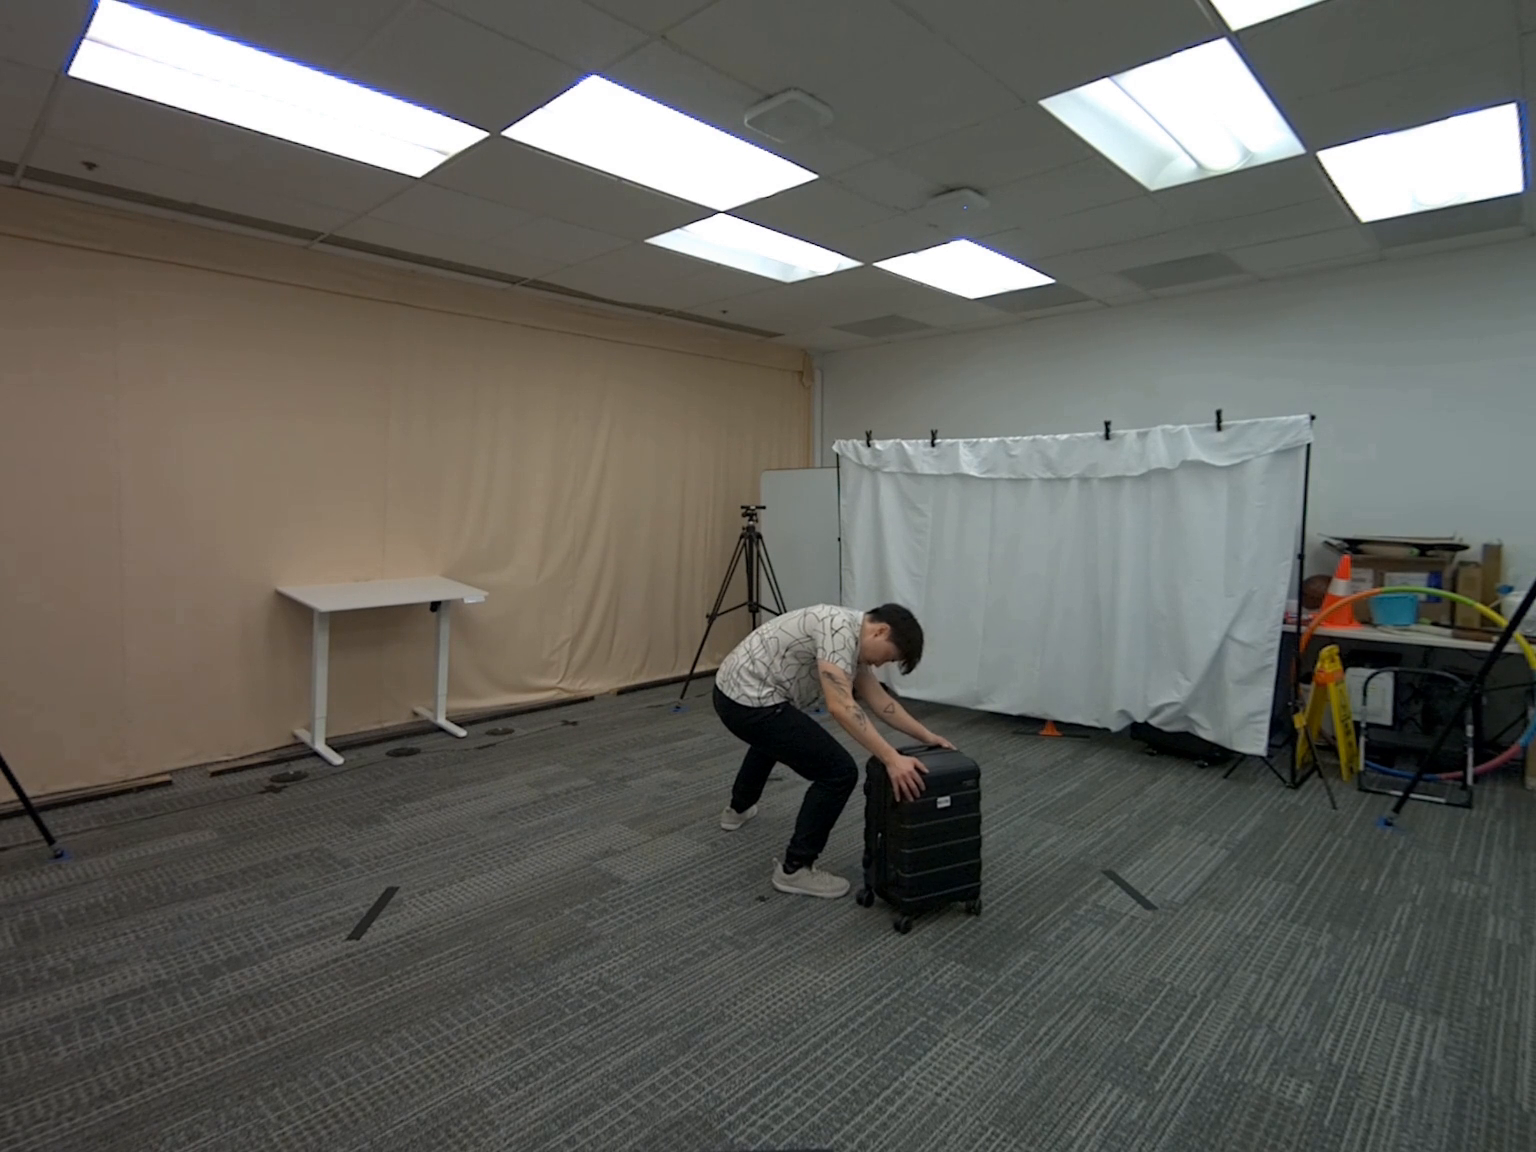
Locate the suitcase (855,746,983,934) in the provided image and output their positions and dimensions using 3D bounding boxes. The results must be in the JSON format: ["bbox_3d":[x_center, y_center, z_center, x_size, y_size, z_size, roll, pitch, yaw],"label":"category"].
[{"bbox_3d":[0.539,0.874,2.909,0.366,0.549,0.255,0,1,-27],"label":"suitcase"}]
